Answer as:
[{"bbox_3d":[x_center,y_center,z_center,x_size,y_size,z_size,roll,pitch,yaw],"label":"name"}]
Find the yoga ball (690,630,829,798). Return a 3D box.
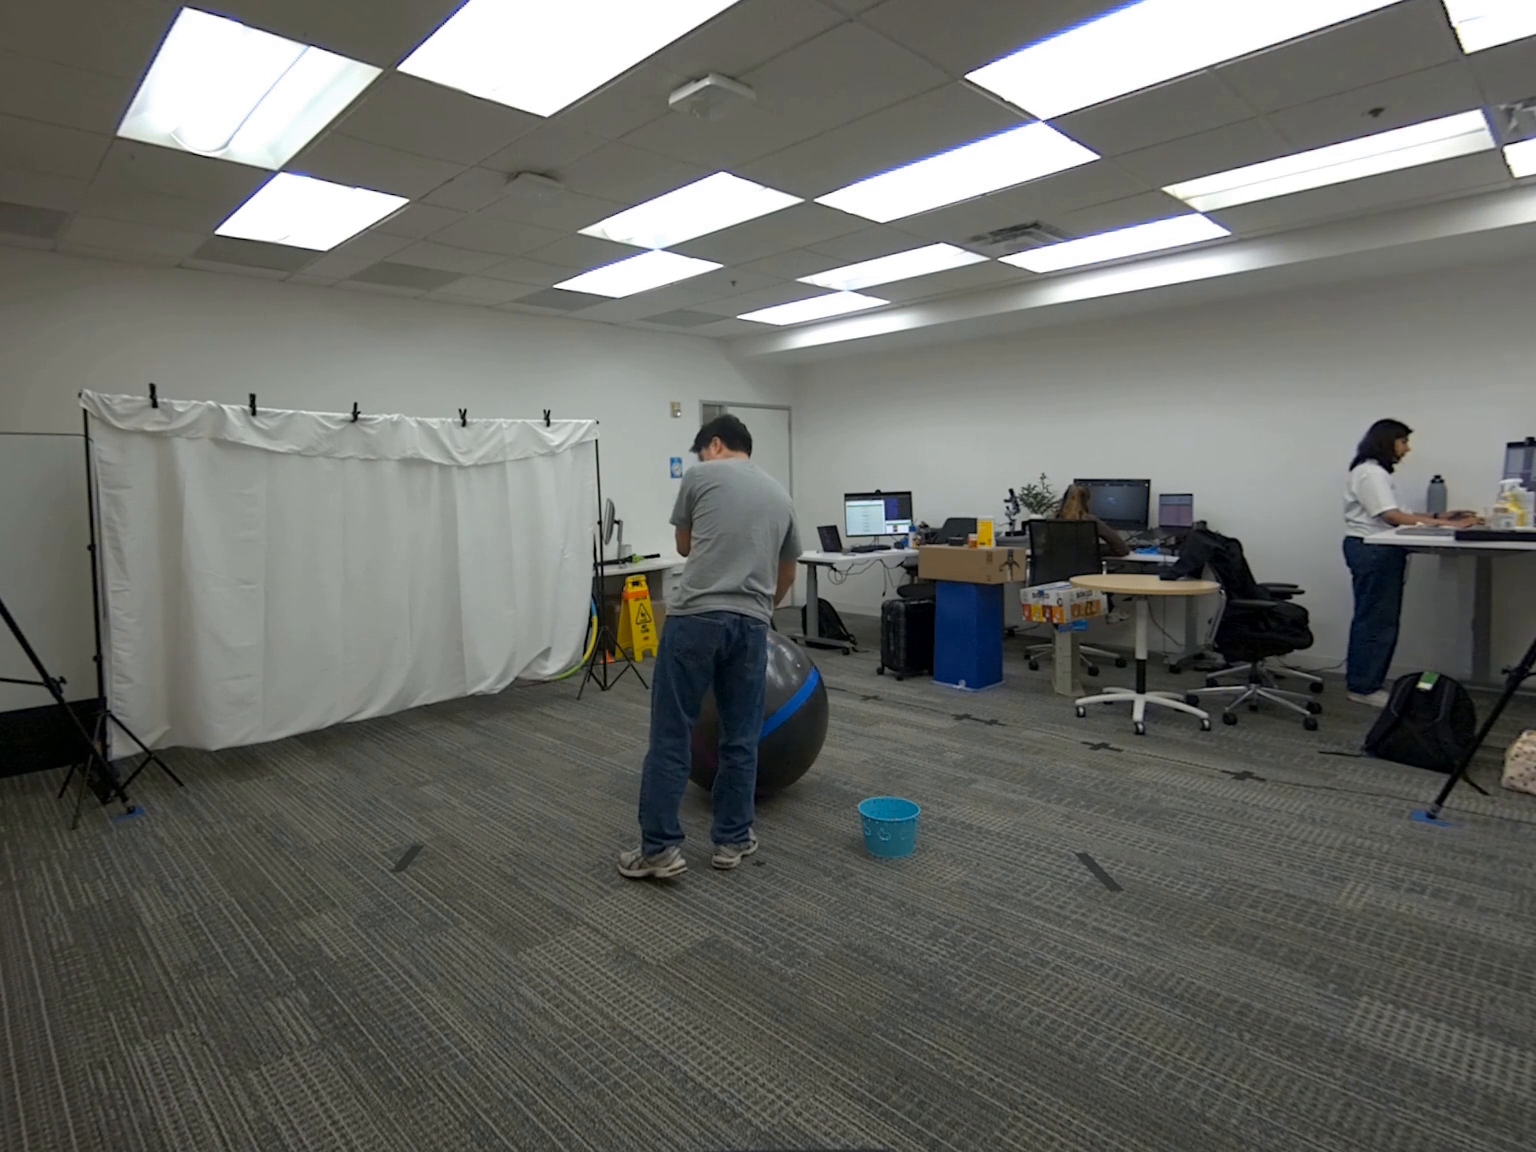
[{"bbox_3d":[-0.121,0.599,3.796,0.757,0.755,0.762,-1,5,-2],"label":"yoga ball"}]
